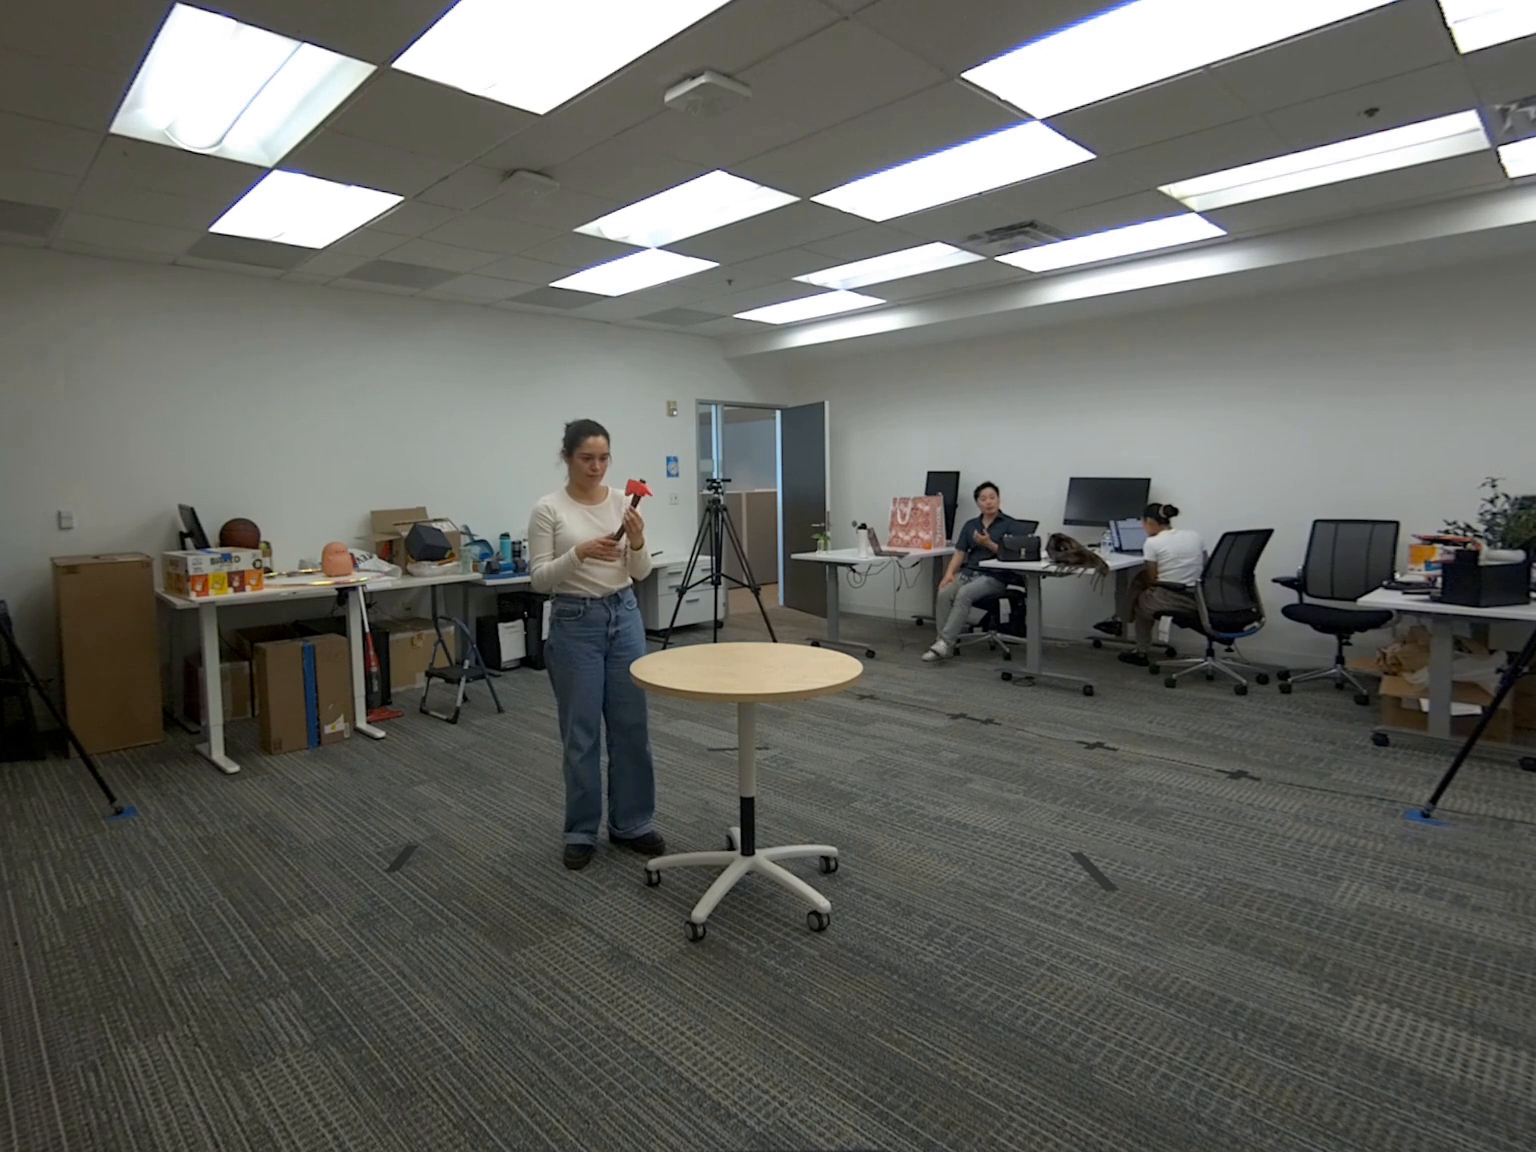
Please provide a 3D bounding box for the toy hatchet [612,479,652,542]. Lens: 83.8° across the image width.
[{"bbox_3d":[-0.494,-0.224,2.926,0.028,0.270,0.135,12,37,-50],"label":"toy hatchet"}]
